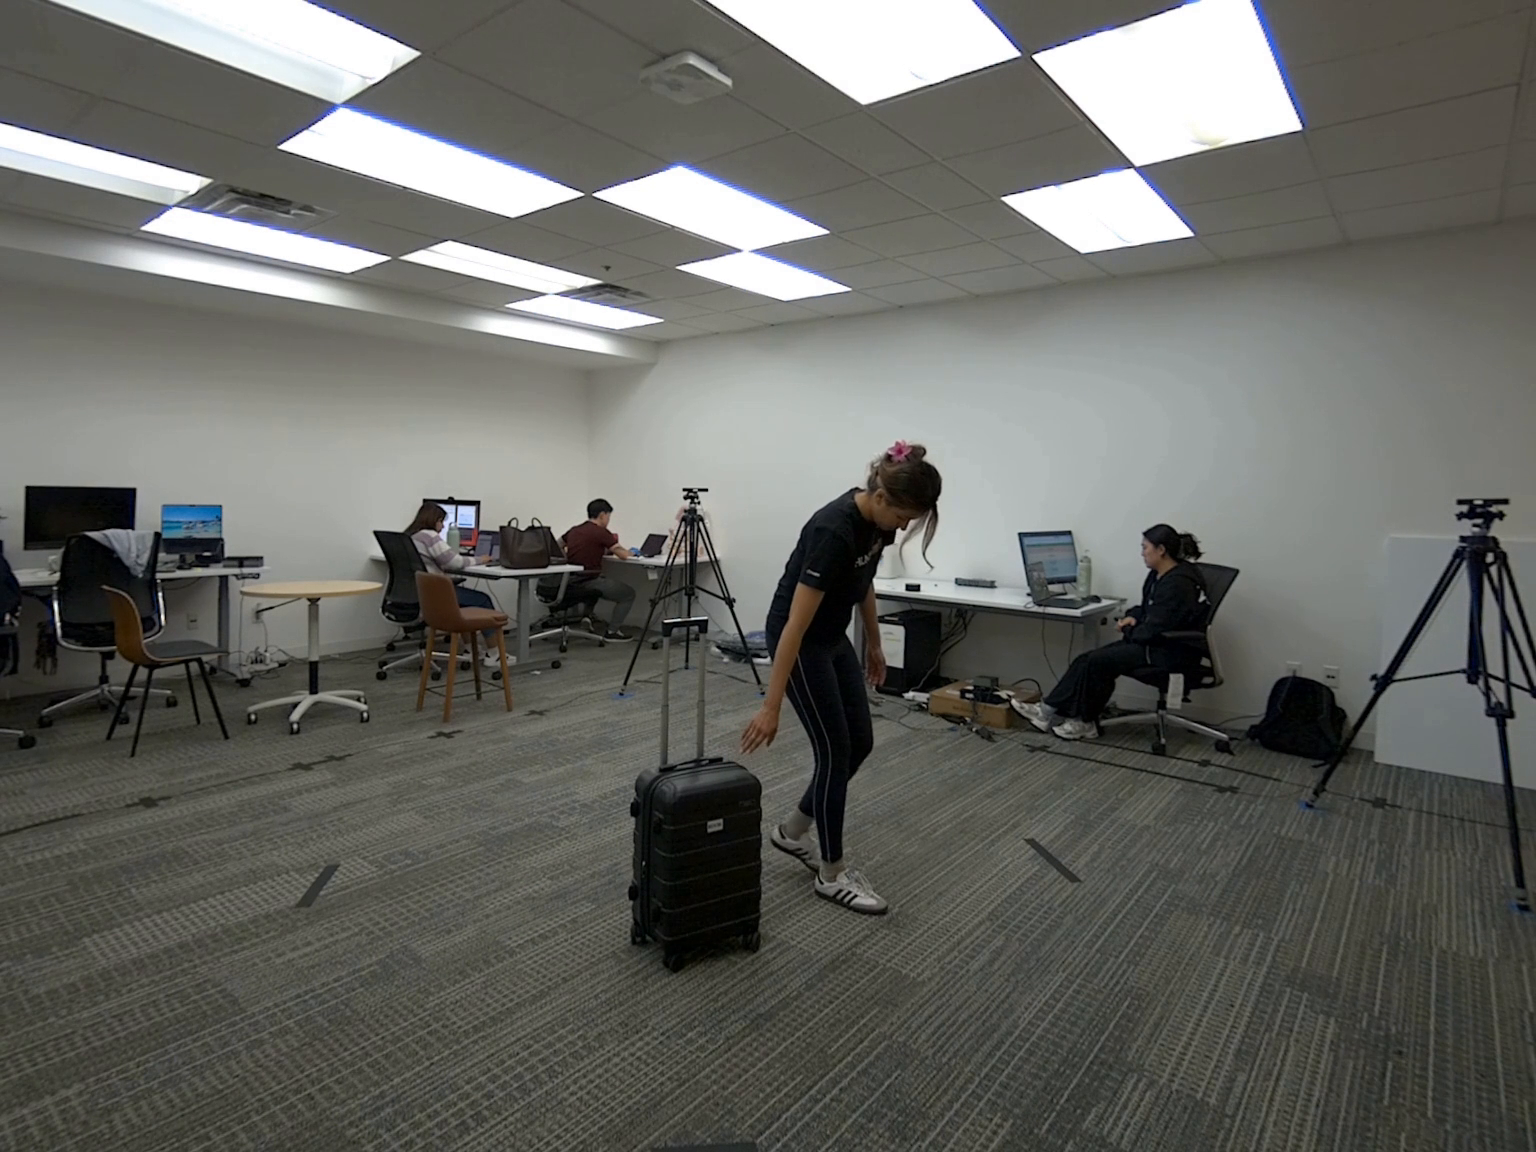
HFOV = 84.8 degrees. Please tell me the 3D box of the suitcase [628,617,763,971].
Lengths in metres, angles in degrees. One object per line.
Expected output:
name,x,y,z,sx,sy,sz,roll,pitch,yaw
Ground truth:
suitcase,-0.218,0.646,2.571,0.374,0.975,0.265,-1,4,-30
